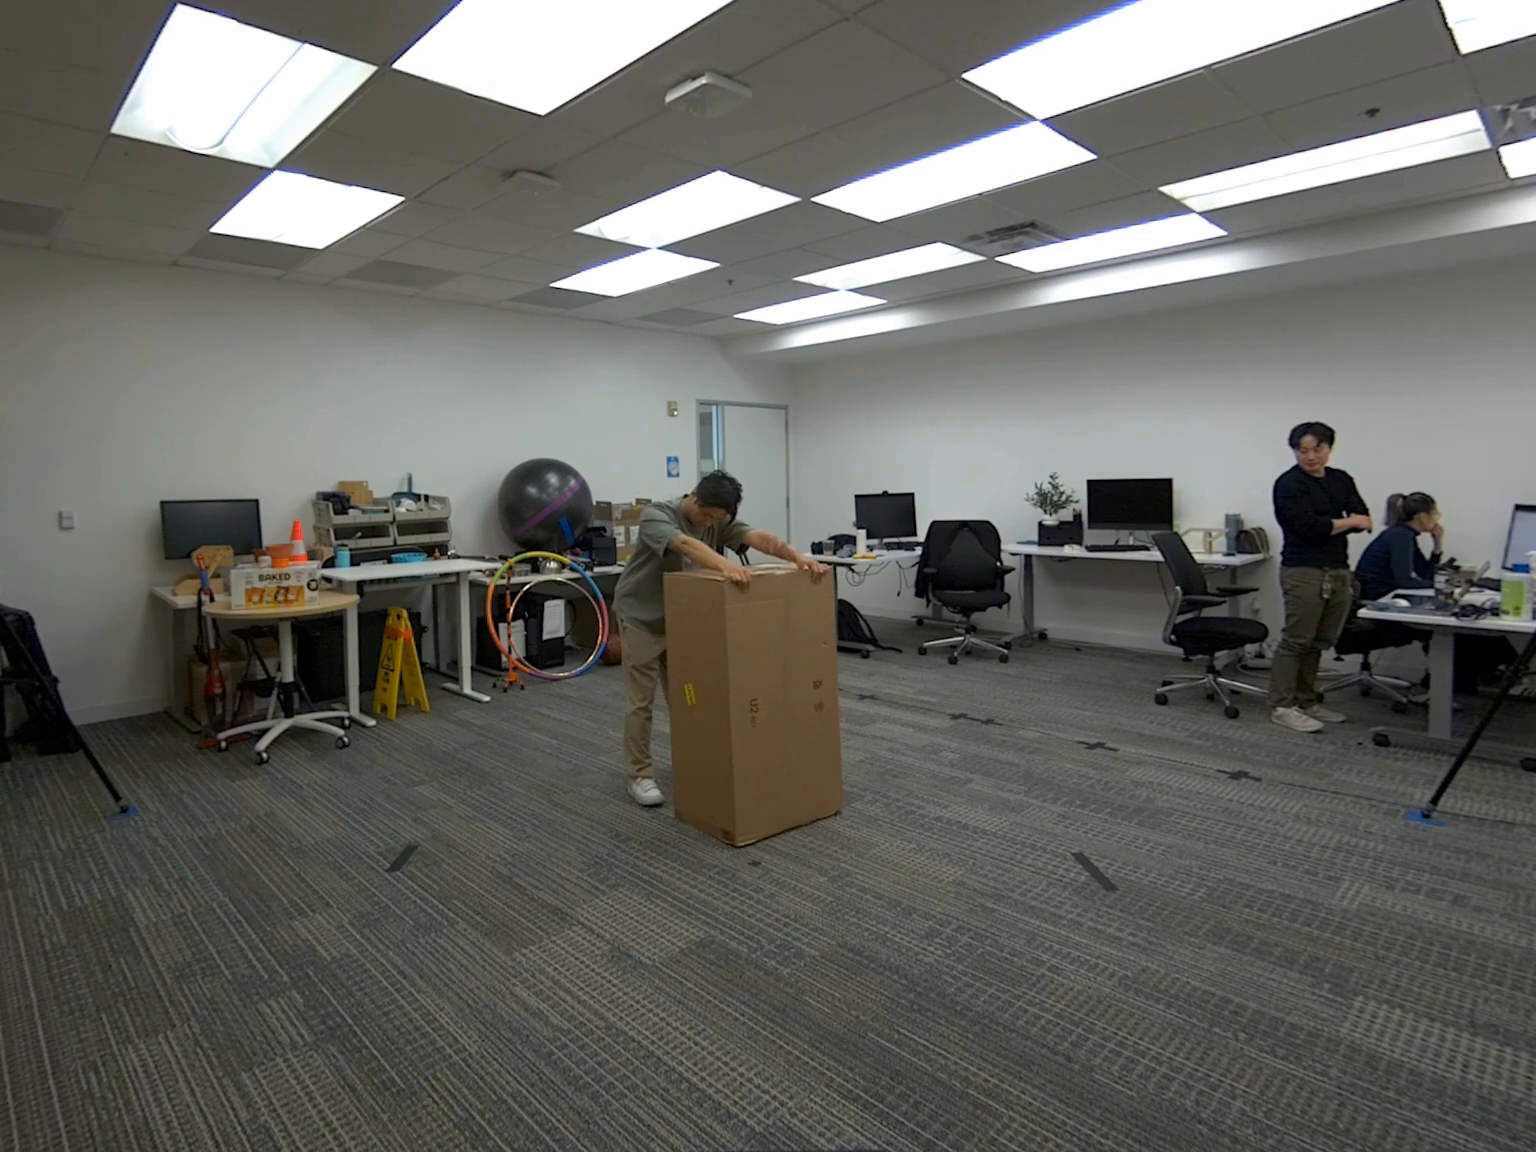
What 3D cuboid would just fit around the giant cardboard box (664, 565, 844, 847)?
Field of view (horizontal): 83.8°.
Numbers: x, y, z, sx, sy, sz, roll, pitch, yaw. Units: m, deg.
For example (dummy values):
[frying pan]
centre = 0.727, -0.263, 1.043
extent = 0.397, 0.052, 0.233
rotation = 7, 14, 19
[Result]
[giant cardboard box]
centre = -0.060, 0.483, 3.539
extent = 0.562, 1.023, 0.438
rotation = -5, 3, -39
